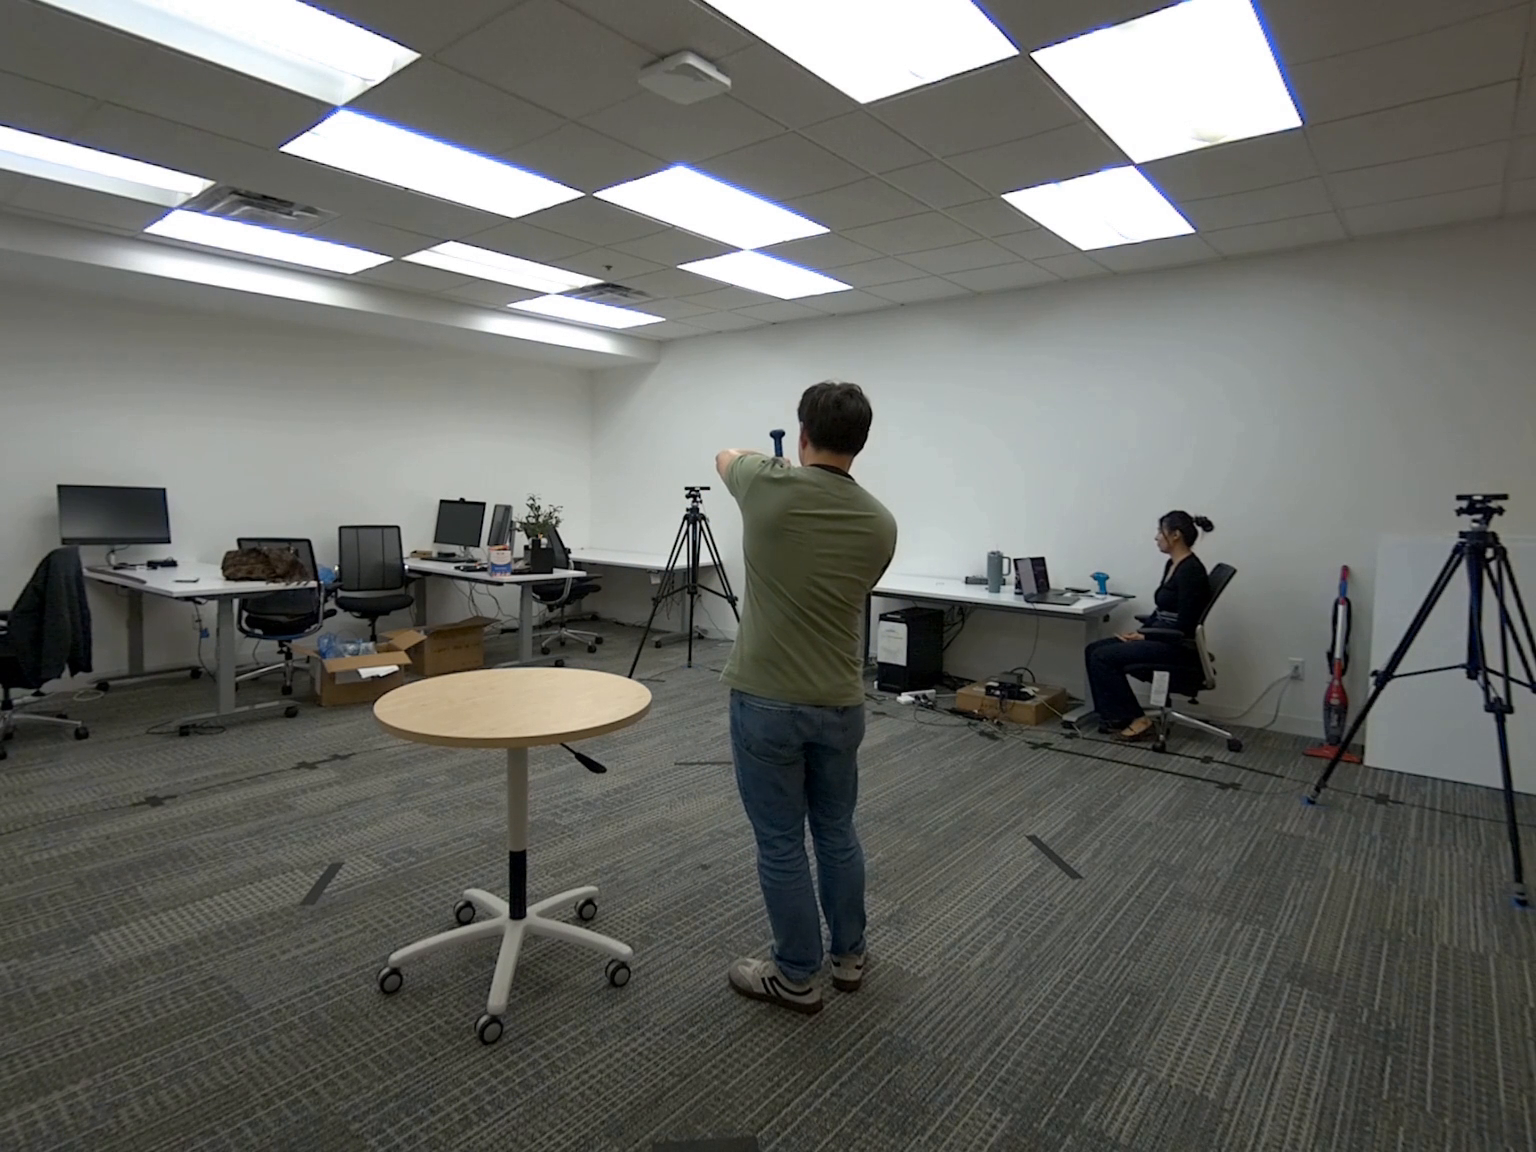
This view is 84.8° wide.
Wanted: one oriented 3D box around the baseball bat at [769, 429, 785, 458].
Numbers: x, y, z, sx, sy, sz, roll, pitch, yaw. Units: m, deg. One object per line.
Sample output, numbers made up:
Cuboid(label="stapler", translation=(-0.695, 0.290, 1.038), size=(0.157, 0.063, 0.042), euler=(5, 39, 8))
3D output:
Cuboid(label="baseball bat", translation=(0.045, -0.194, 2.698), size=(0.089, 0.542, 0.089), euler=(-4, 1, -2))
